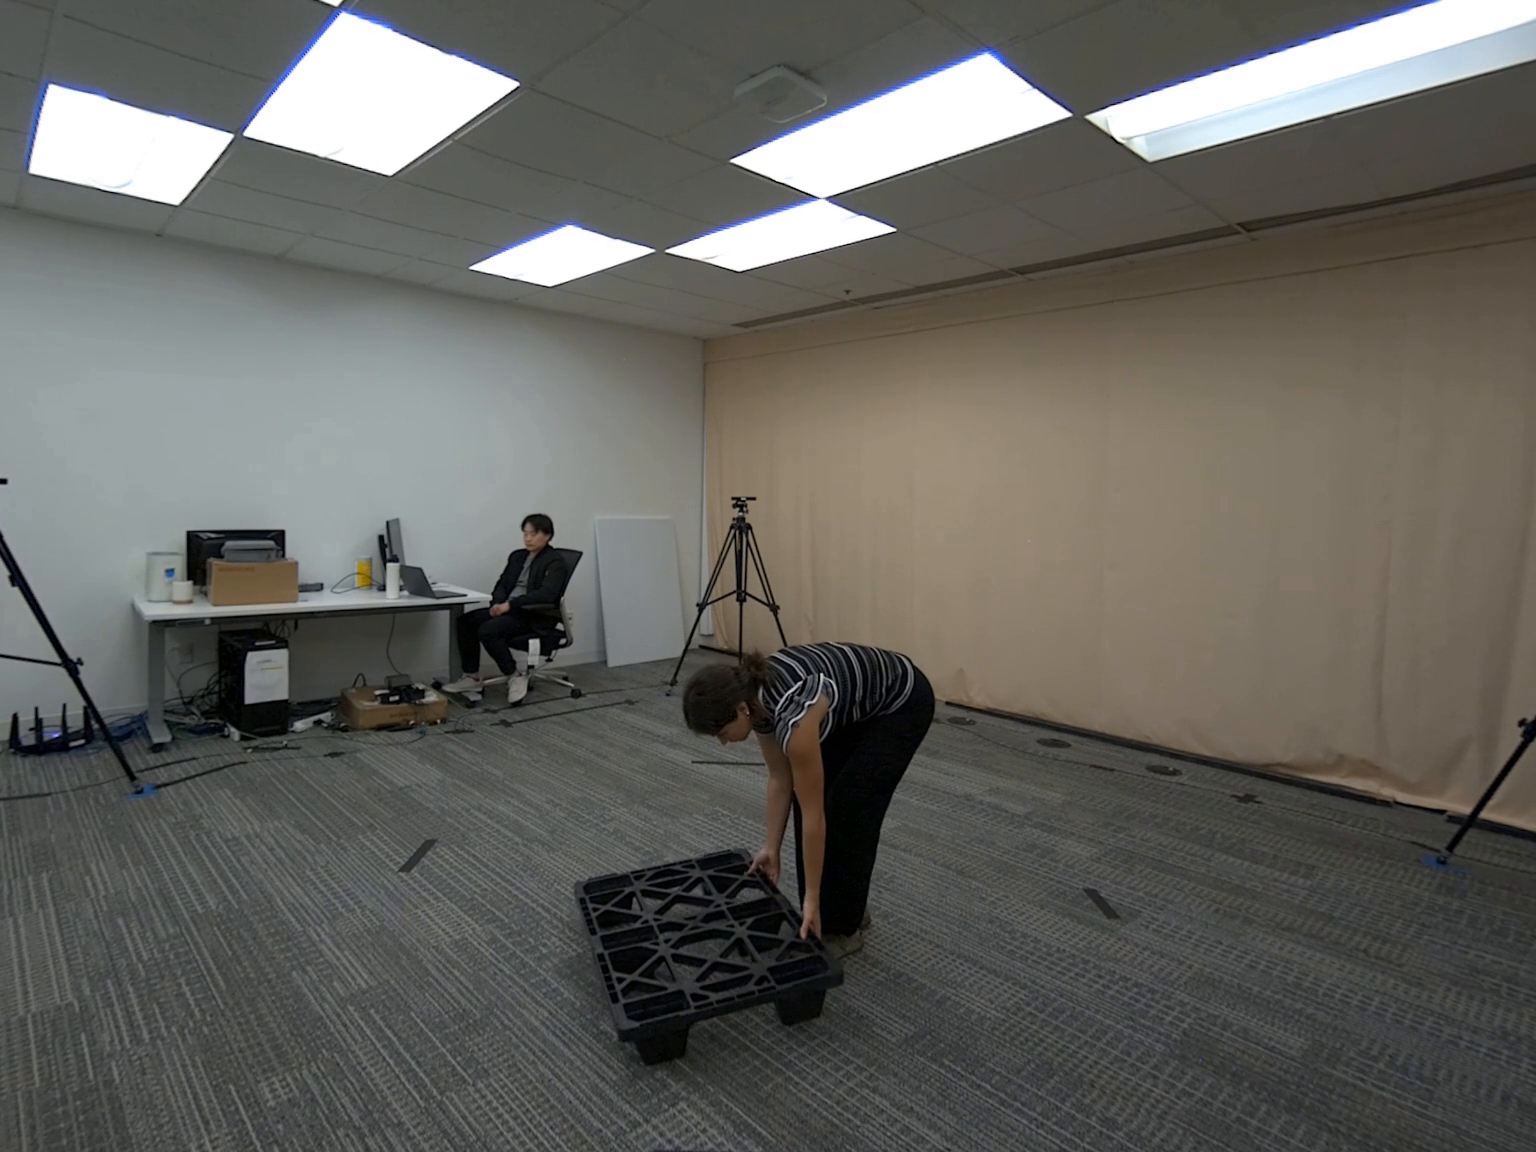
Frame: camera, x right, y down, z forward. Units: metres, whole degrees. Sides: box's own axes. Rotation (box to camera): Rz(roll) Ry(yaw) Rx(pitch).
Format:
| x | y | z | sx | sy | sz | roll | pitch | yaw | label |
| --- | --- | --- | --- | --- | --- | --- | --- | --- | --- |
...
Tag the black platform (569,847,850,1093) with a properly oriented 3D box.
| x | y | z | sx | sy | sz | roll | pitch | yaw | label |
| --- | --- | --- | --- | --- | --- | --- | --- | --- | --- |
| -0.220 | 1.081 | 2.469 | 0.597 | 0.142 | 0.820 | -5 | 8 | -19 | black platform |
